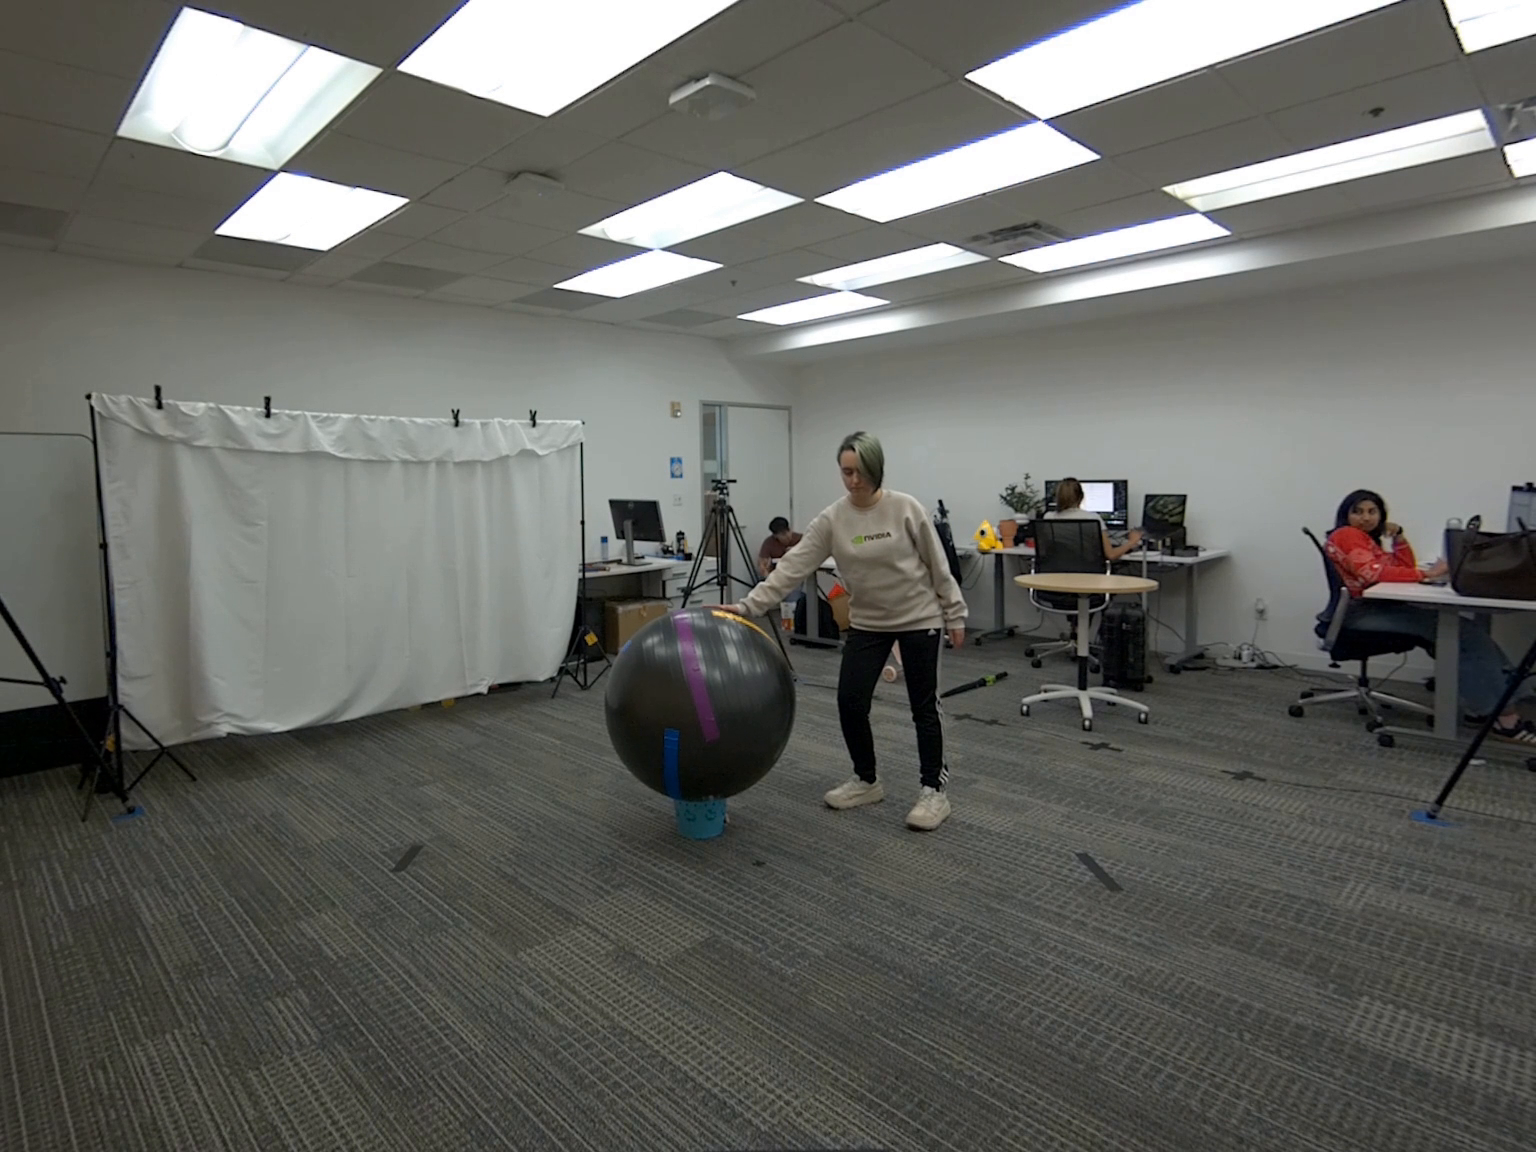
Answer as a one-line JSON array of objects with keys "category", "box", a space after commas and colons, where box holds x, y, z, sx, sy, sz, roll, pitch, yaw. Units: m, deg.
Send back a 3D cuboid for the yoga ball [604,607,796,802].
[{"category": "yoga ball", "box": [-0.267, 0.508, 3.397, 0.757, 0.755, 0.762, -1, 5, -2]}]
